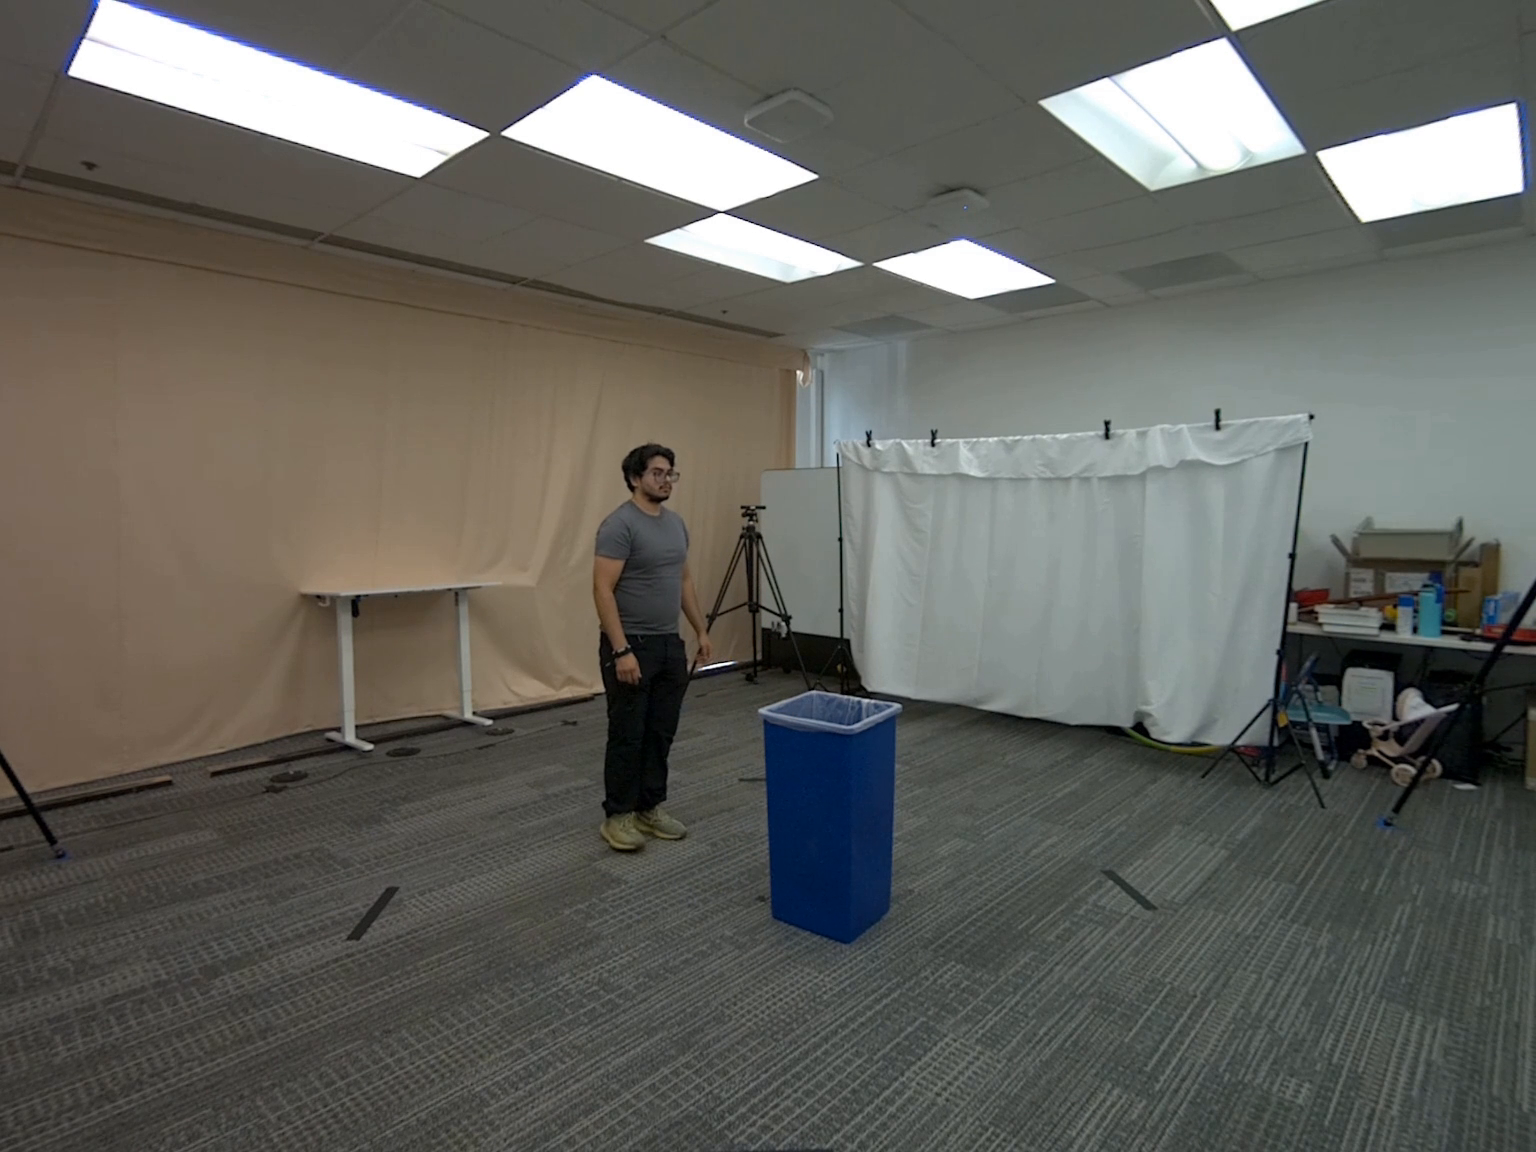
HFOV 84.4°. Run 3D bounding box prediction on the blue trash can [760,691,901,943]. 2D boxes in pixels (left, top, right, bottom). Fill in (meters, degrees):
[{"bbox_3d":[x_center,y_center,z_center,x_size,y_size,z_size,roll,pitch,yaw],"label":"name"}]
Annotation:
[{"bbox_3d":[0.215,0.796,2.845,0.390,0.712,0.363,2,4,37],"label":"blue trash can"}]
